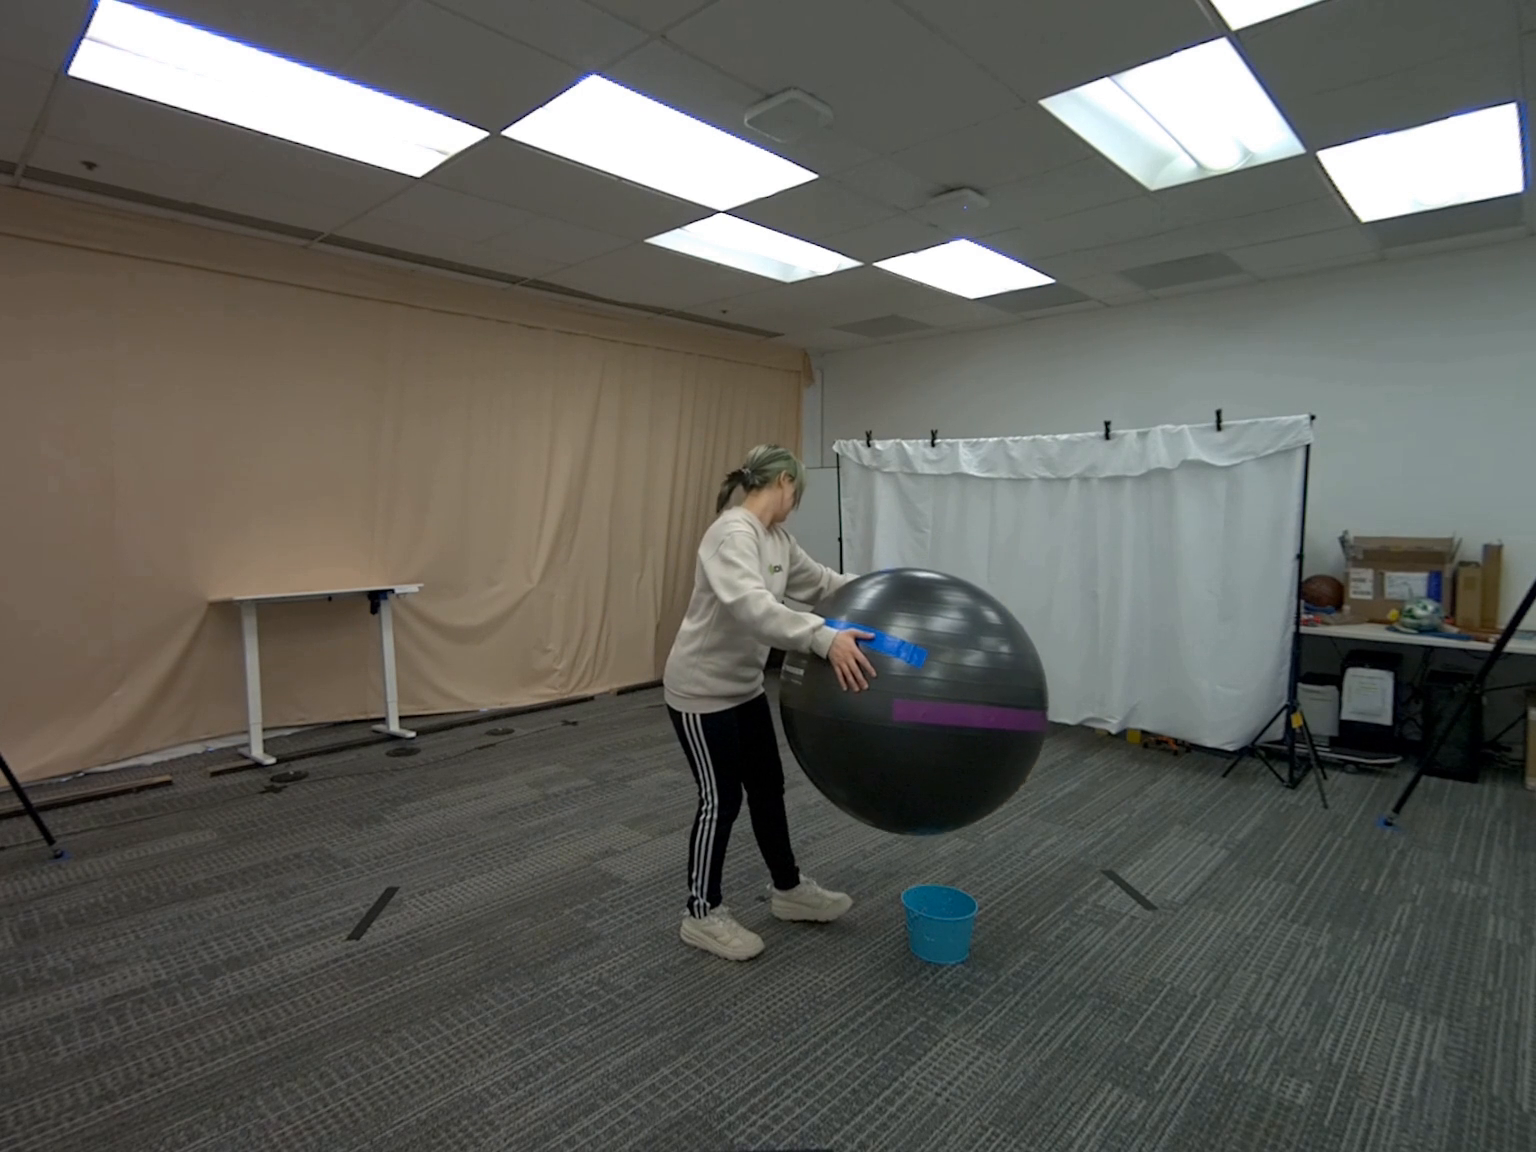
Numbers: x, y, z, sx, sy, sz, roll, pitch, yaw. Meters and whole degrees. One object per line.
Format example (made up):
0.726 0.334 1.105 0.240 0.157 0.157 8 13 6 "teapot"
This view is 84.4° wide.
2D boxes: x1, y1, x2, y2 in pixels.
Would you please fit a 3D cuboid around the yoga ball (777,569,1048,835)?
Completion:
0.422 0.369 2.453 0.757 0.756 0.760 0 4 -2 "yoga ball"
